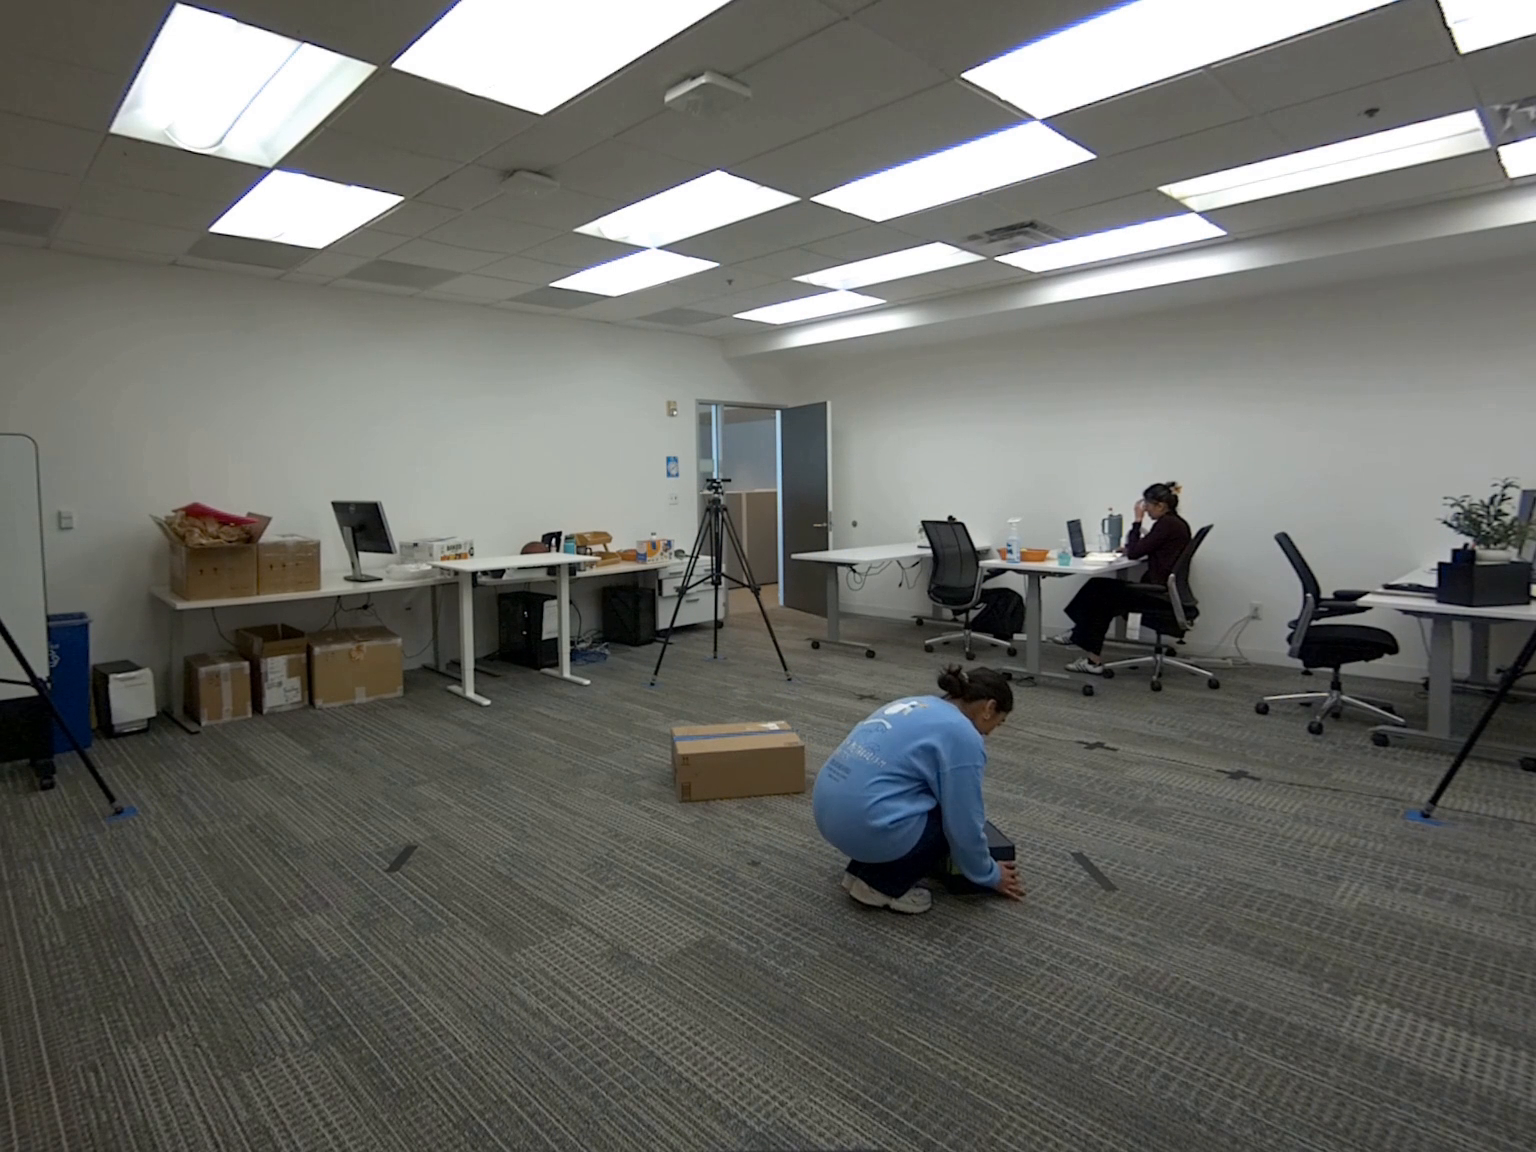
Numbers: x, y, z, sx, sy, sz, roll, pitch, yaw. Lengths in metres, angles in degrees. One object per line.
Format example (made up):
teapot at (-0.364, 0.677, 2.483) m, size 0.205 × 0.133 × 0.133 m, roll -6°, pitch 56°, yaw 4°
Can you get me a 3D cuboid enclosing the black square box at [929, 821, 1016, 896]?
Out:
black square box at (0.705, 0.954, 2.950) m, size 0.226 × 0.155 × 0.219 m, roll -1°, pitch 5°, yaw -9°
